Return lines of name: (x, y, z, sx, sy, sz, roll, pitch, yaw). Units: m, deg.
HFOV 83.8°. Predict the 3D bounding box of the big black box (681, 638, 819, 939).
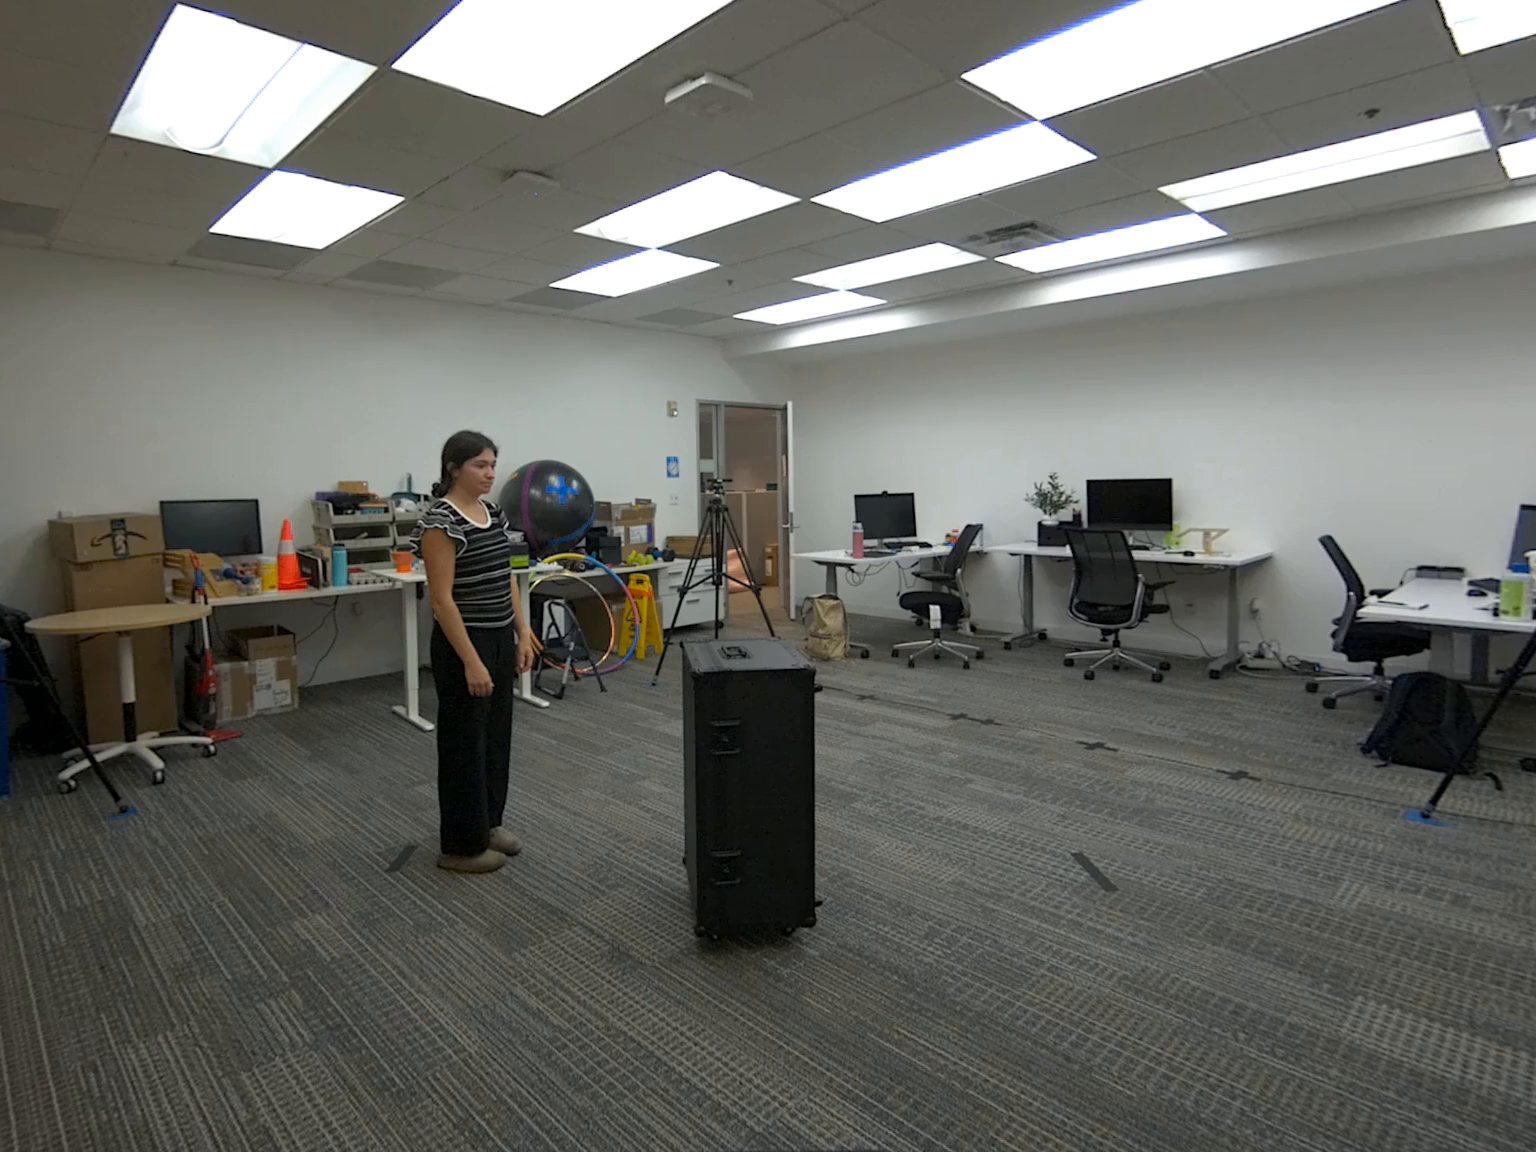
big black box: (-0.064, 0.663, 2.720, 0.393, 0.858, 0.527, -1, 5, -8)
